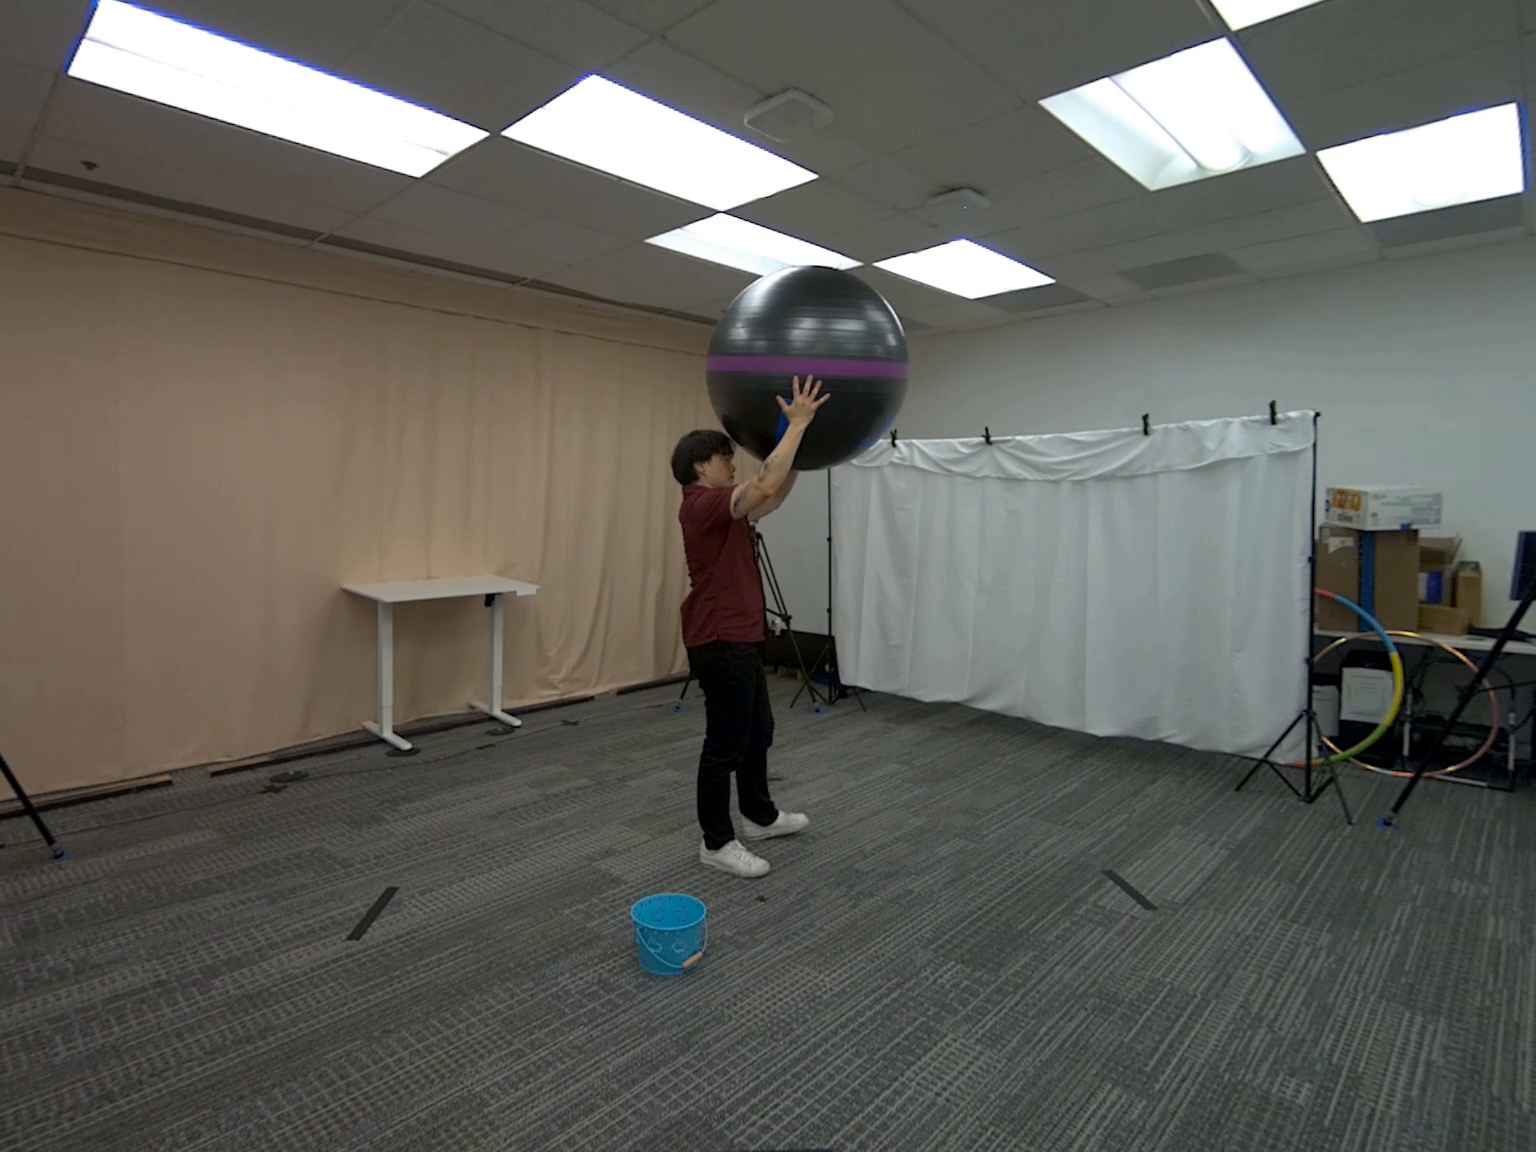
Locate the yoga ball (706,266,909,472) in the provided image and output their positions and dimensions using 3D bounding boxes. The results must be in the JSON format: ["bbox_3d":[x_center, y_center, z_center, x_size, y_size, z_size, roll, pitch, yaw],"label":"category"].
[{"bbox_3d":[0.152,-0.777,3.204,0.757,0.756,0.760,0,4,-2],"label":"yoga ball"}]
